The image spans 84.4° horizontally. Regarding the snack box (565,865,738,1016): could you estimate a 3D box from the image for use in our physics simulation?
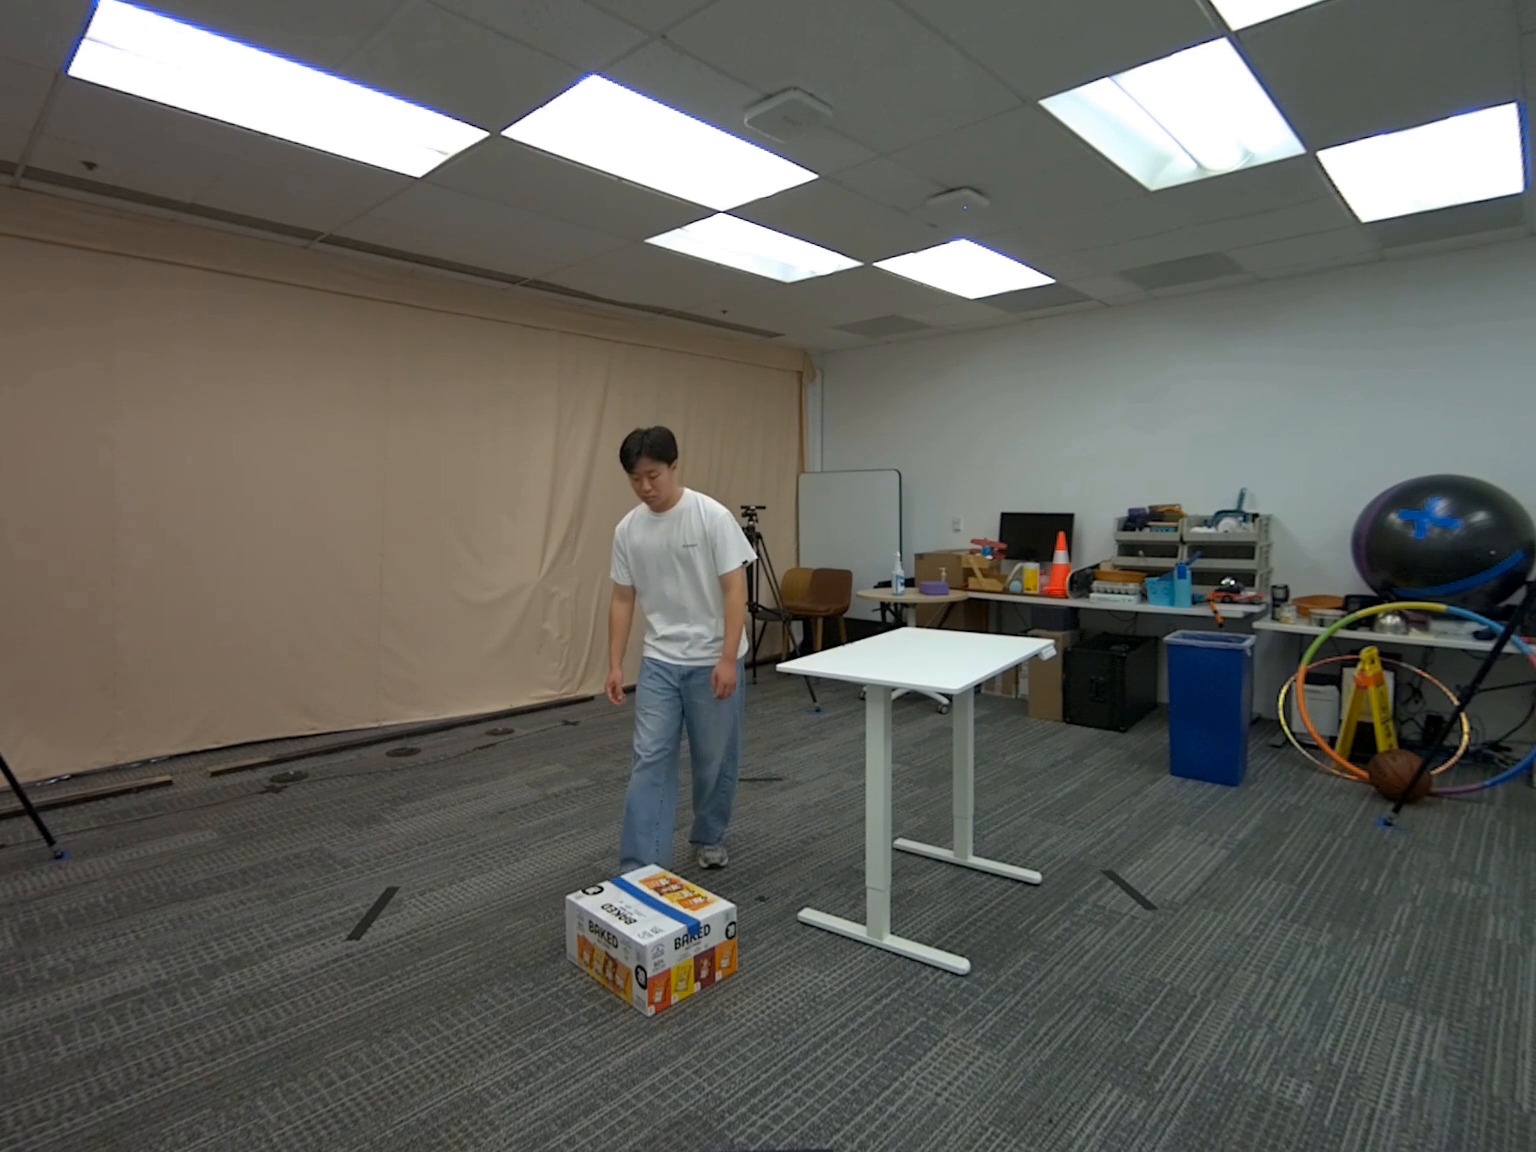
[{"bbox_3d":[-0.355,1.075,2.547,0.330,0.205,0.419,-4,6,-44],"label":"snack box"}]
